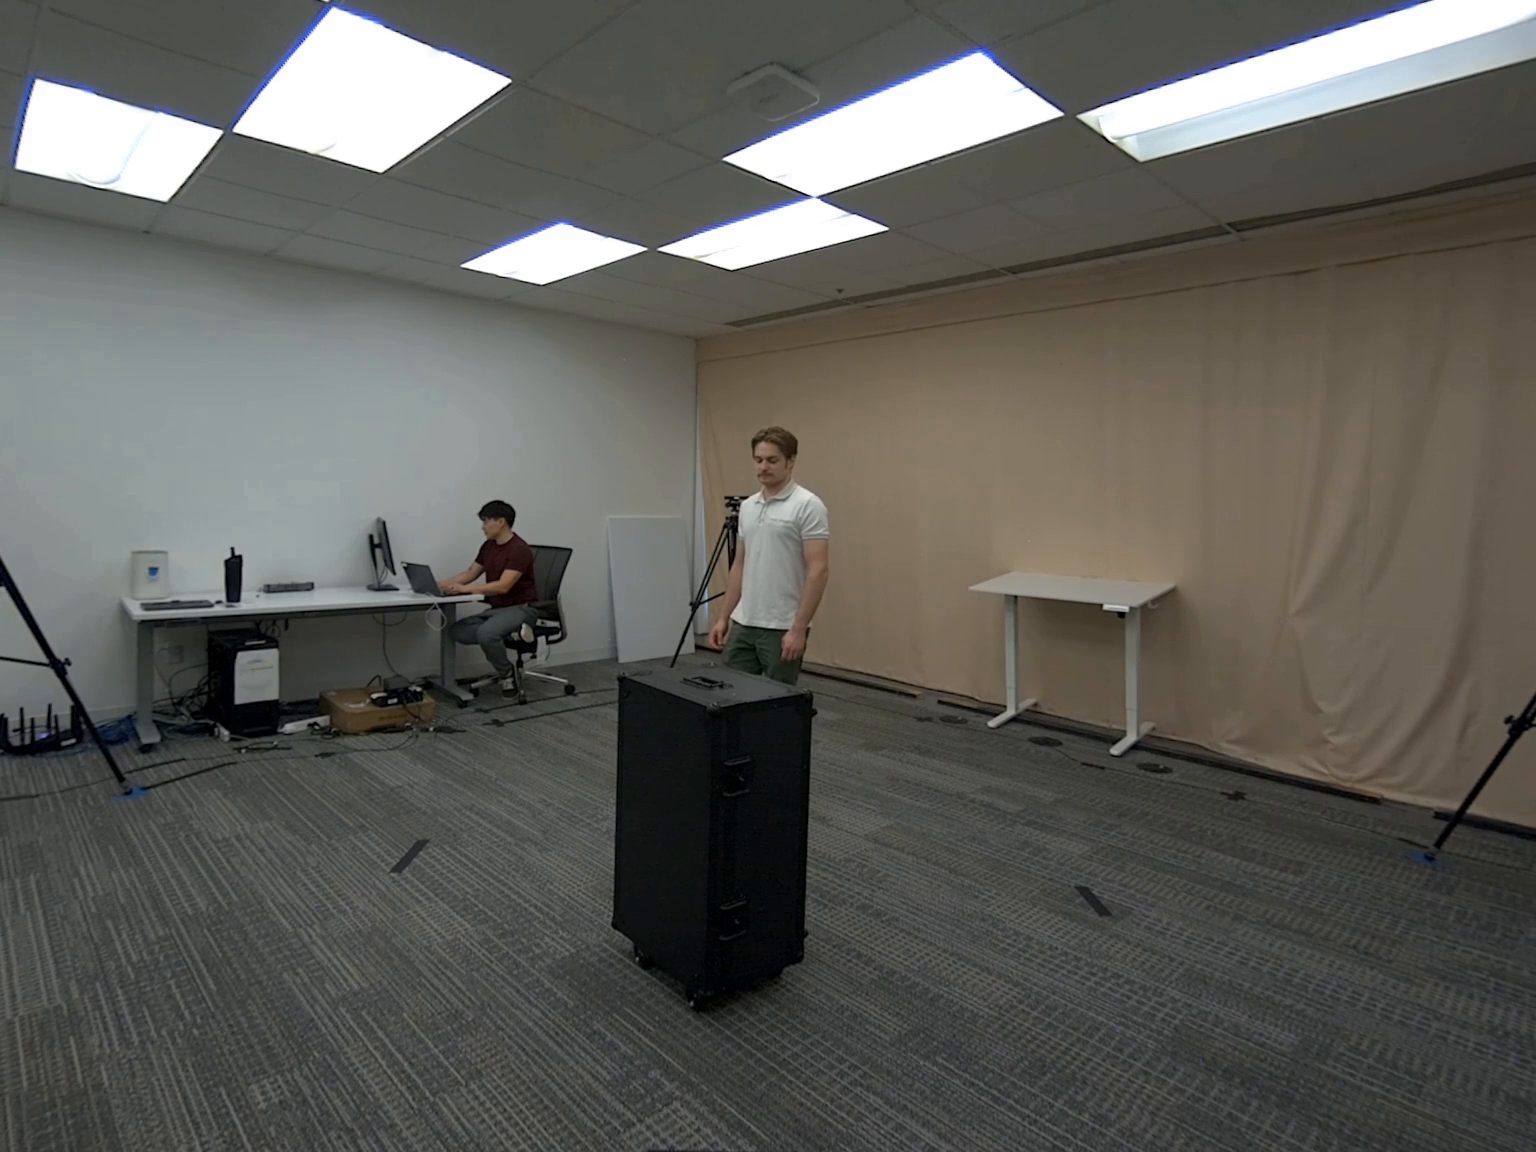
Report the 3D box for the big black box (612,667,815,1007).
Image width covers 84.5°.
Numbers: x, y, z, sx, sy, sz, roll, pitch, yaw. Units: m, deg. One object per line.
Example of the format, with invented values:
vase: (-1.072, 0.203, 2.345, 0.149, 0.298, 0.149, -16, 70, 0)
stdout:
big black box: (-0.180, 0.737, 2.474, 0.387, 0.859, 0.534, 0, 4, -38)
